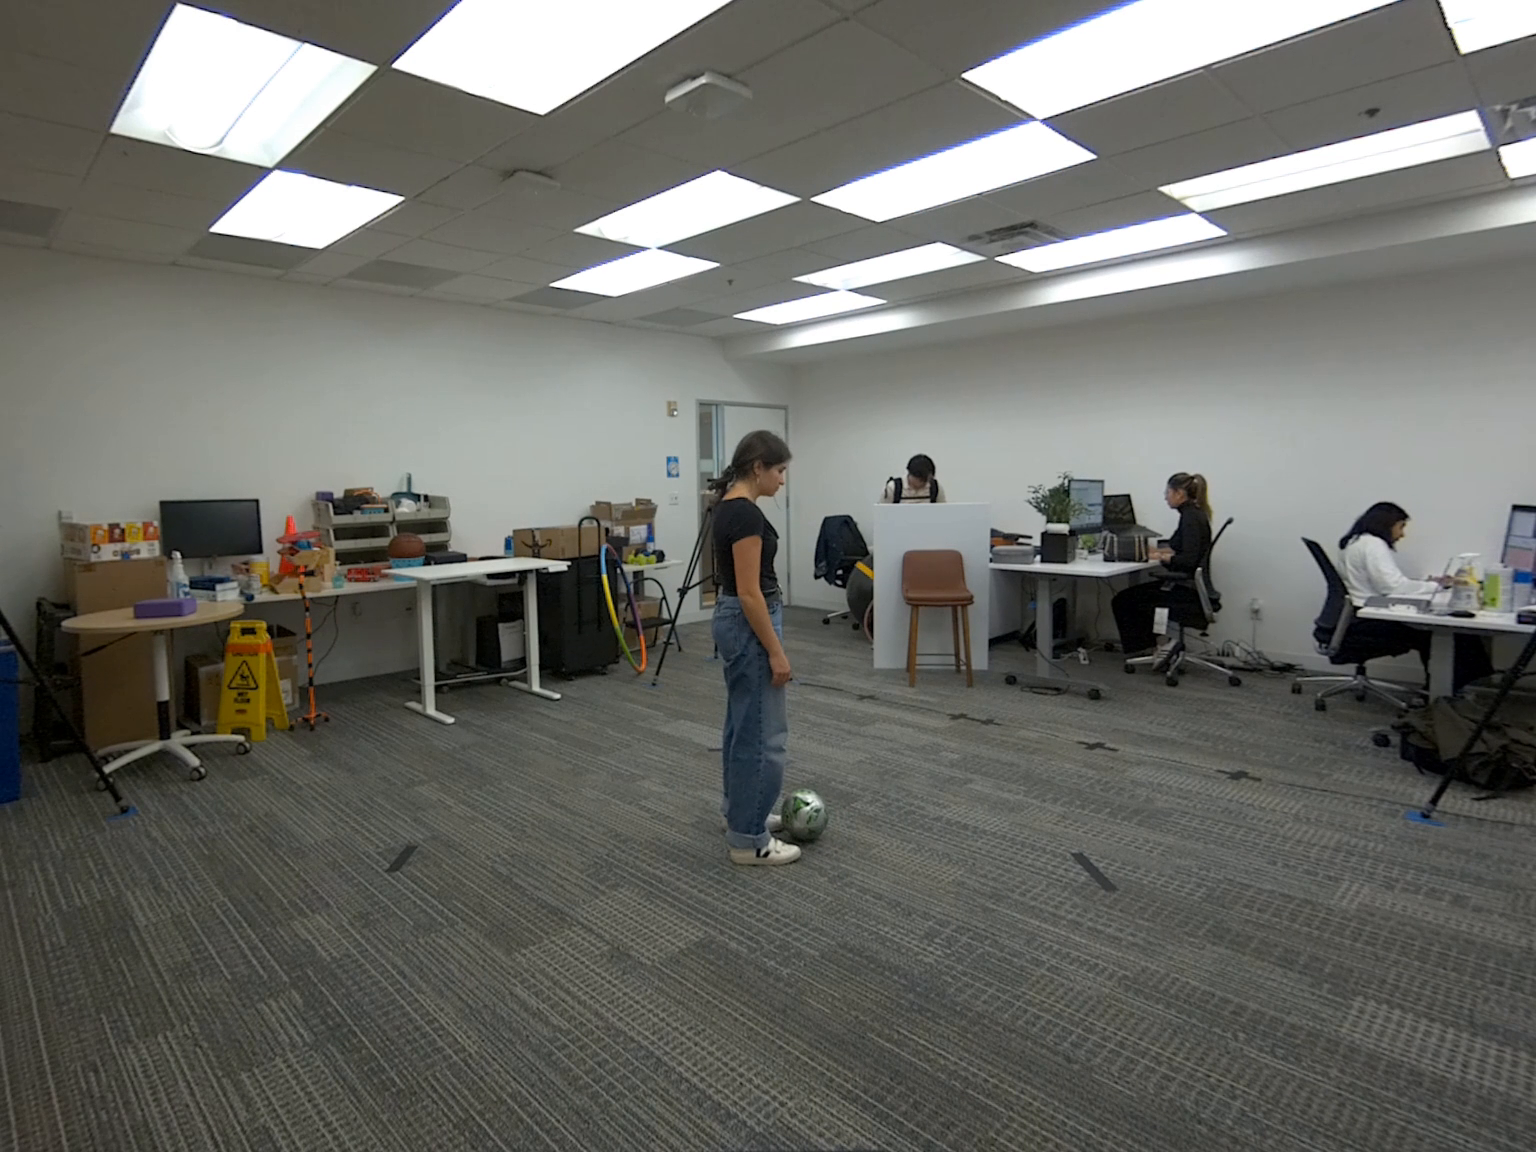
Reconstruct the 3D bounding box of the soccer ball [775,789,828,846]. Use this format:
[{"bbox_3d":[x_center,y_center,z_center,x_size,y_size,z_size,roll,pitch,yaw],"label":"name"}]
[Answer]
[{"bbox_3d":[0.145,0.928,3.302,0.187,0.187,0.188,-1,5,-2],"label":"soccer ball"}]
